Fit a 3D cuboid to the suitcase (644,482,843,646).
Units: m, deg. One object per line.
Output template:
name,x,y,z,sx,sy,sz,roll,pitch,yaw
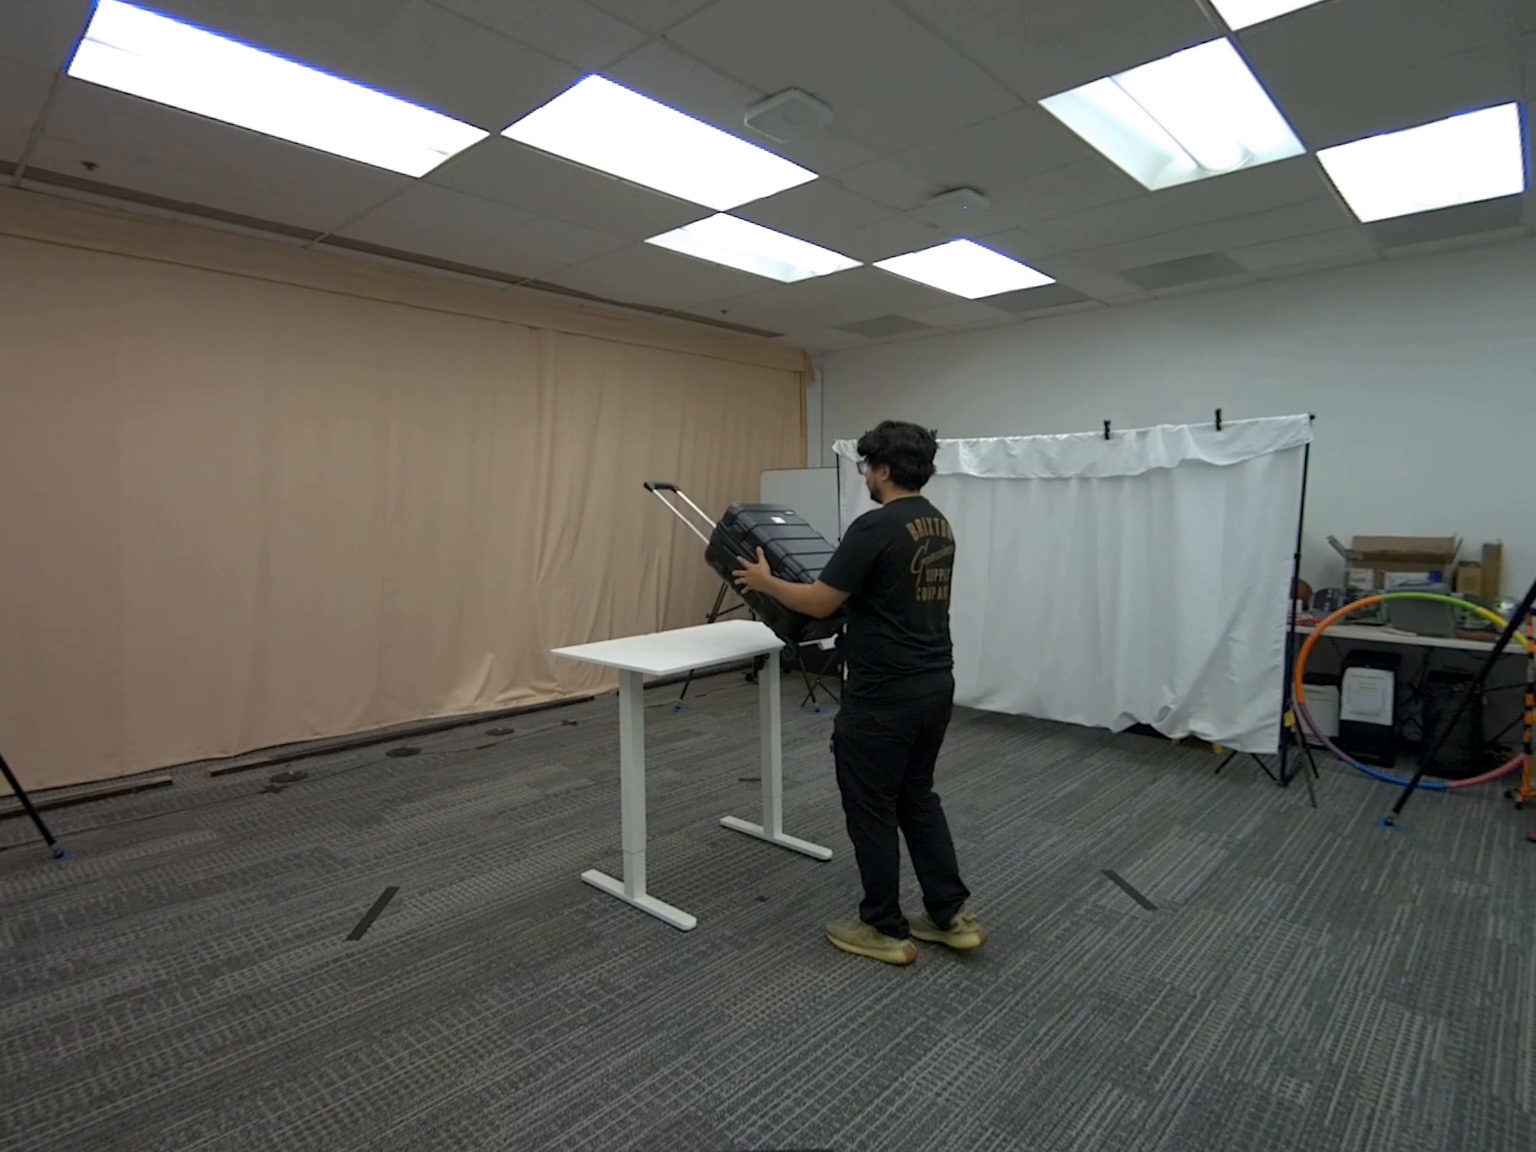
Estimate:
suitcase,-0.058,-0.143,2.998,0.372,0.257,1.010,-2,40,-48
